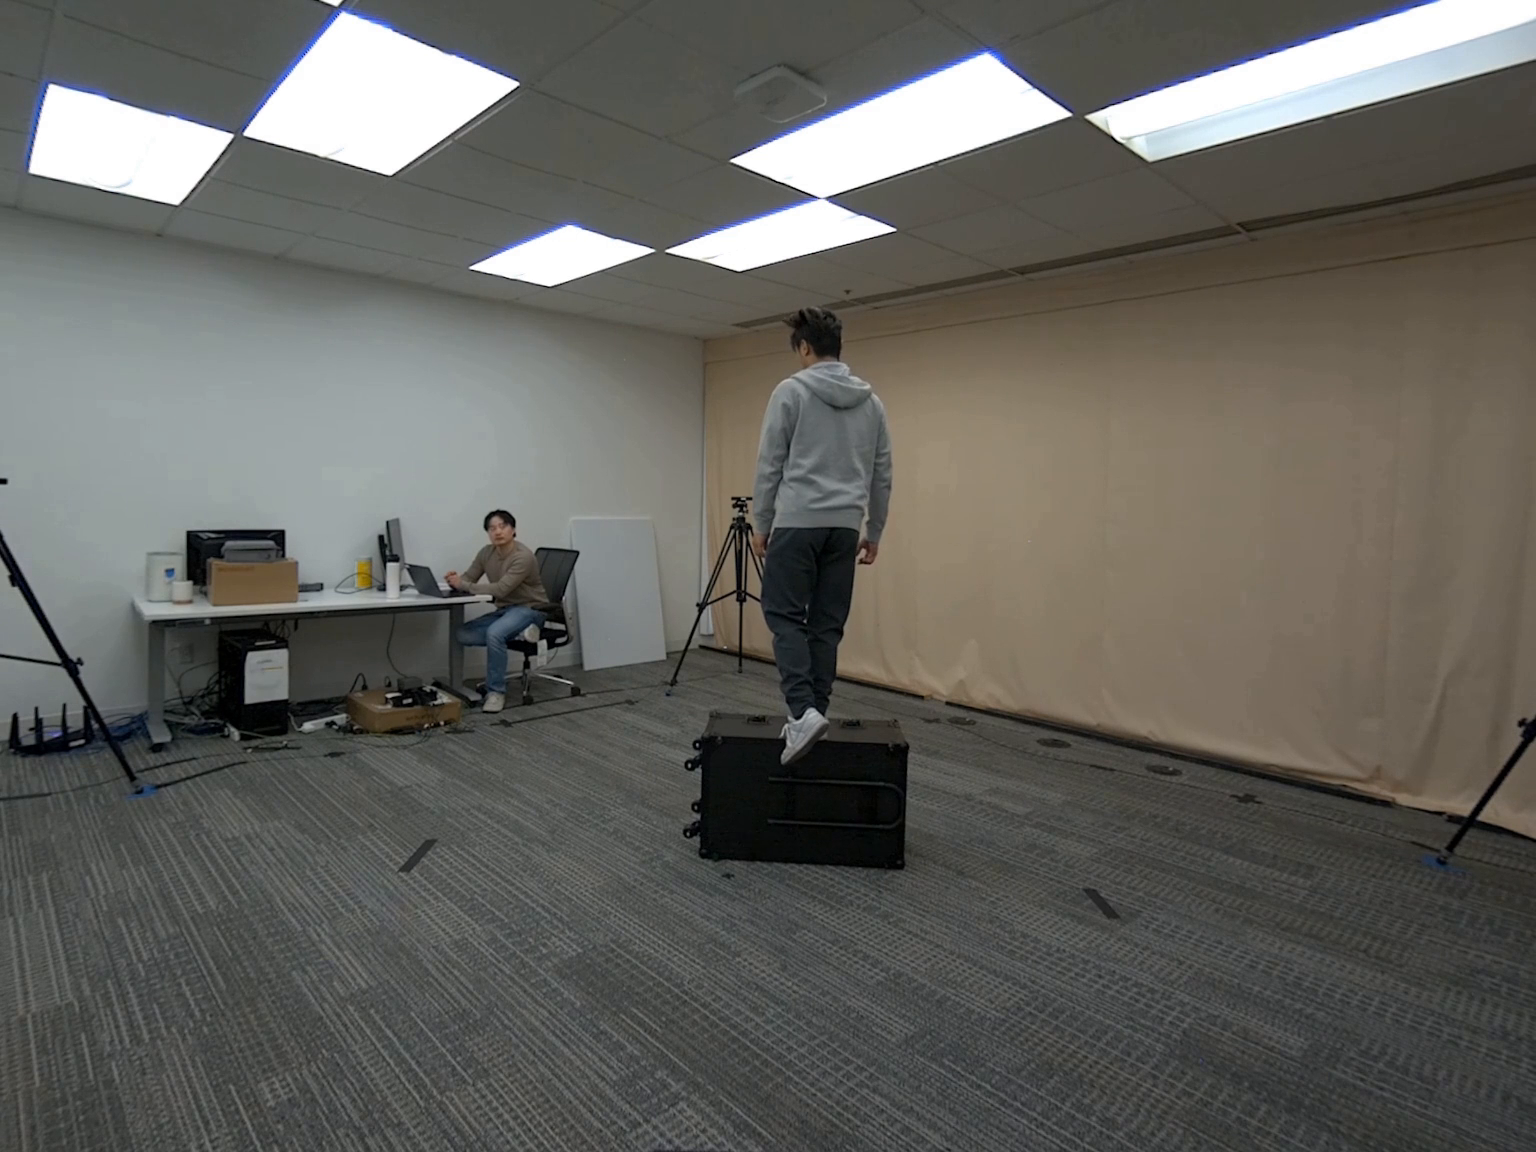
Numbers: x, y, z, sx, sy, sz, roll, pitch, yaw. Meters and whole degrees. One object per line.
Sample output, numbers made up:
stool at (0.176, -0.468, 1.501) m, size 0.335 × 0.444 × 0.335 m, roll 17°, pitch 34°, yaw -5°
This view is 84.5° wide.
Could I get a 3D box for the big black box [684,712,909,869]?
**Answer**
big black box at (0.099, 0.847, 3.370) m, size 0.865 × 0.520 × 0.396 m, roll 2°, pitch 4°, yaw 4°
